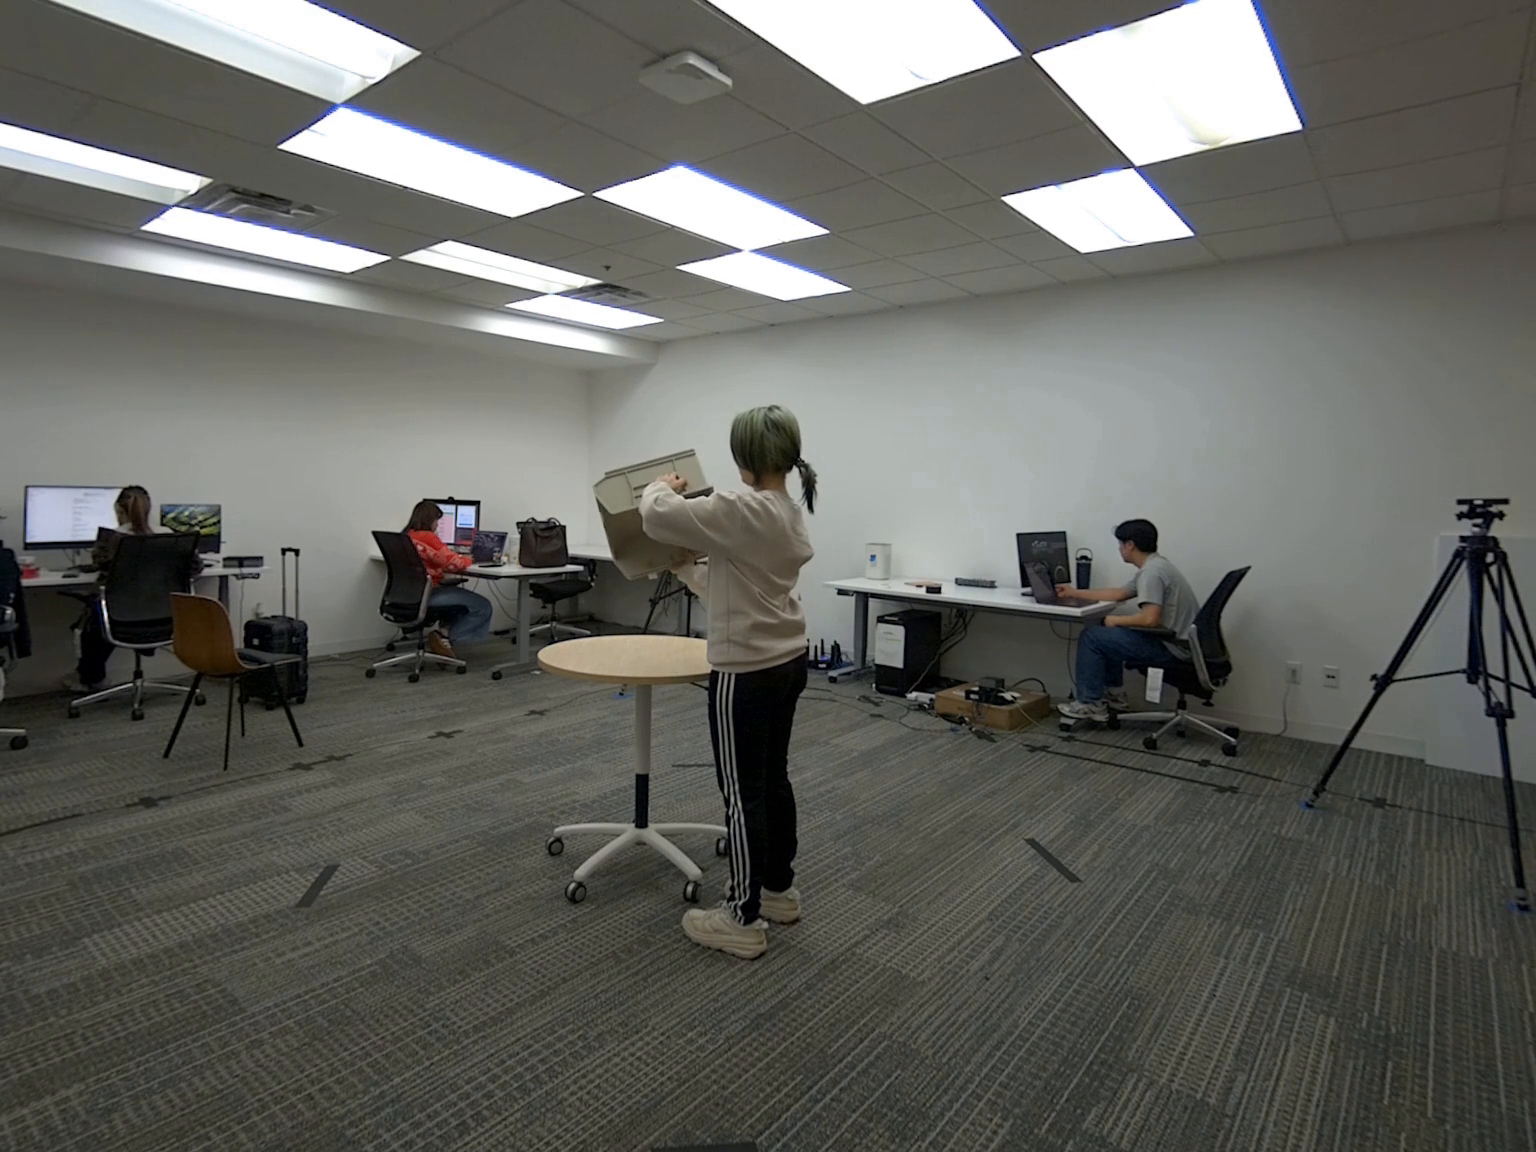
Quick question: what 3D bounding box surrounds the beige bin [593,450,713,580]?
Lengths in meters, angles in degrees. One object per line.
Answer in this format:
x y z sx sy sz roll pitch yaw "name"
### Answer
-0.407 -0.209 2.971 0.375 0.195 0.410 -16 -31 -9 "beige bin"
